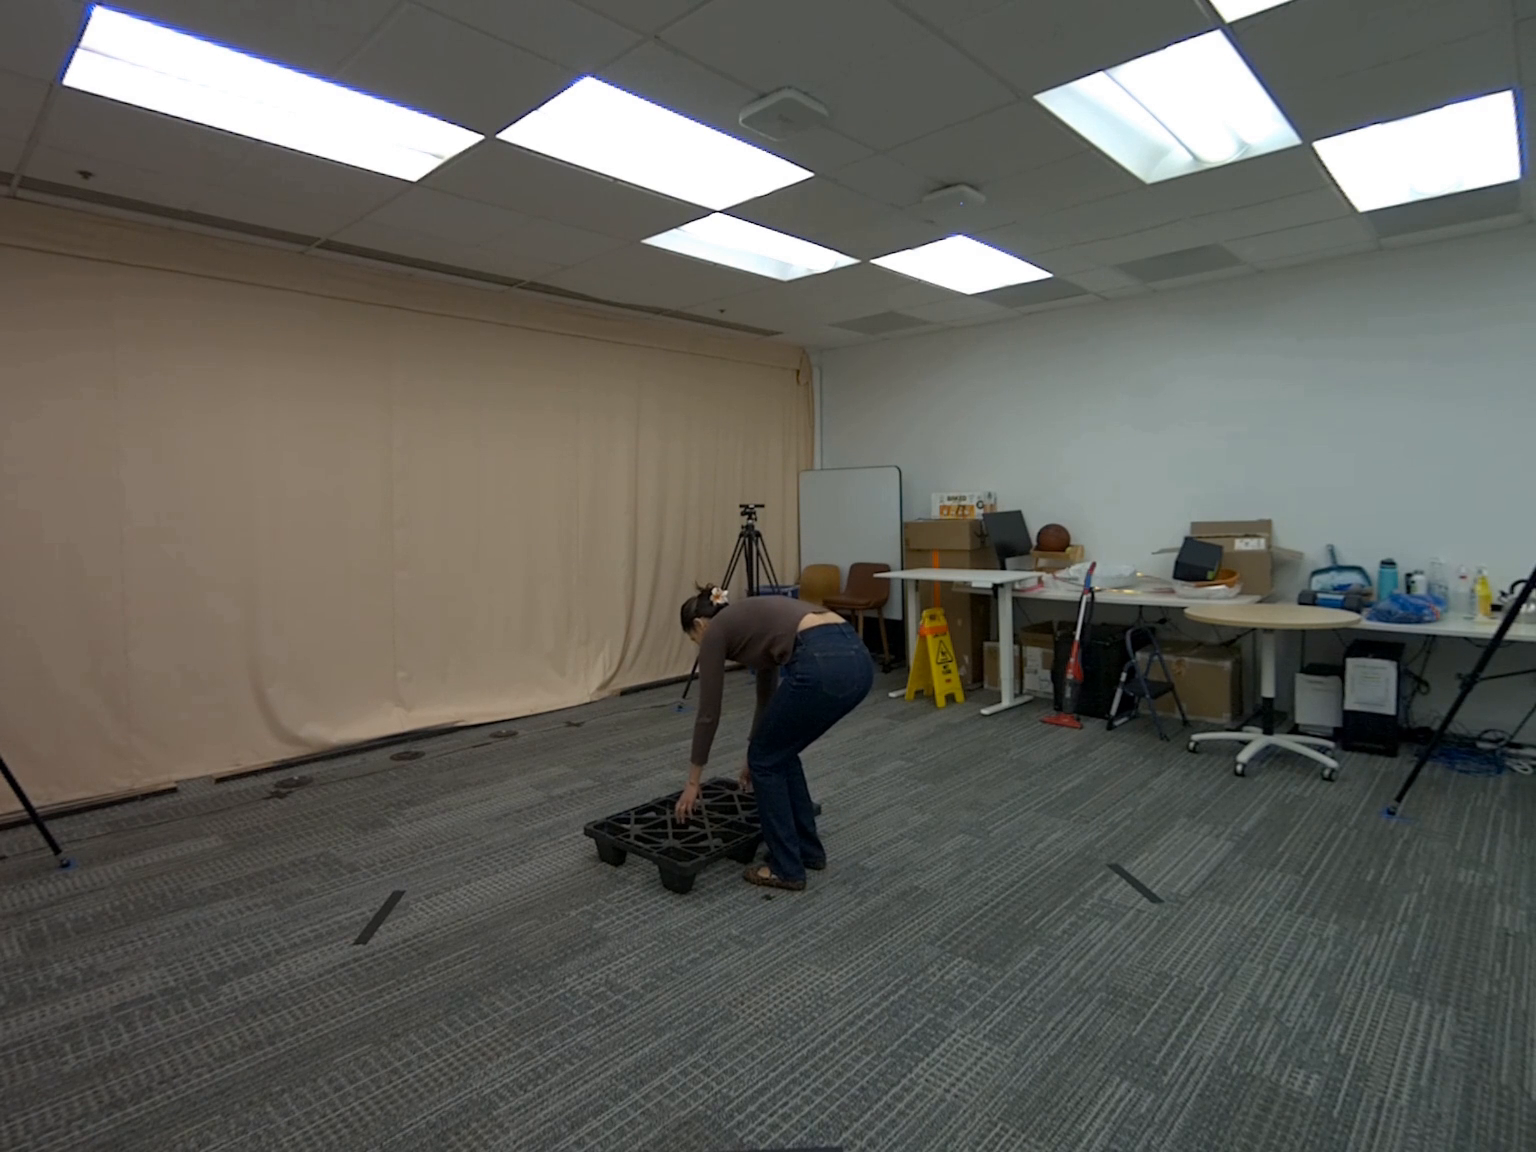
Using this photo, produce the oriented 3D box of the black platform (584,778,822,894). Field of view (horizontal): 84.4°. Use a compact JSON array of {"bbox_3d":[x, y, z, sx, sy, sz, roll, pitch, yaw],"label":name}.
[{"bbox_3d":[-0.245,1.039,3.429,0.625,0.143,0.781,3,7,42],"label":"black platform"}]
